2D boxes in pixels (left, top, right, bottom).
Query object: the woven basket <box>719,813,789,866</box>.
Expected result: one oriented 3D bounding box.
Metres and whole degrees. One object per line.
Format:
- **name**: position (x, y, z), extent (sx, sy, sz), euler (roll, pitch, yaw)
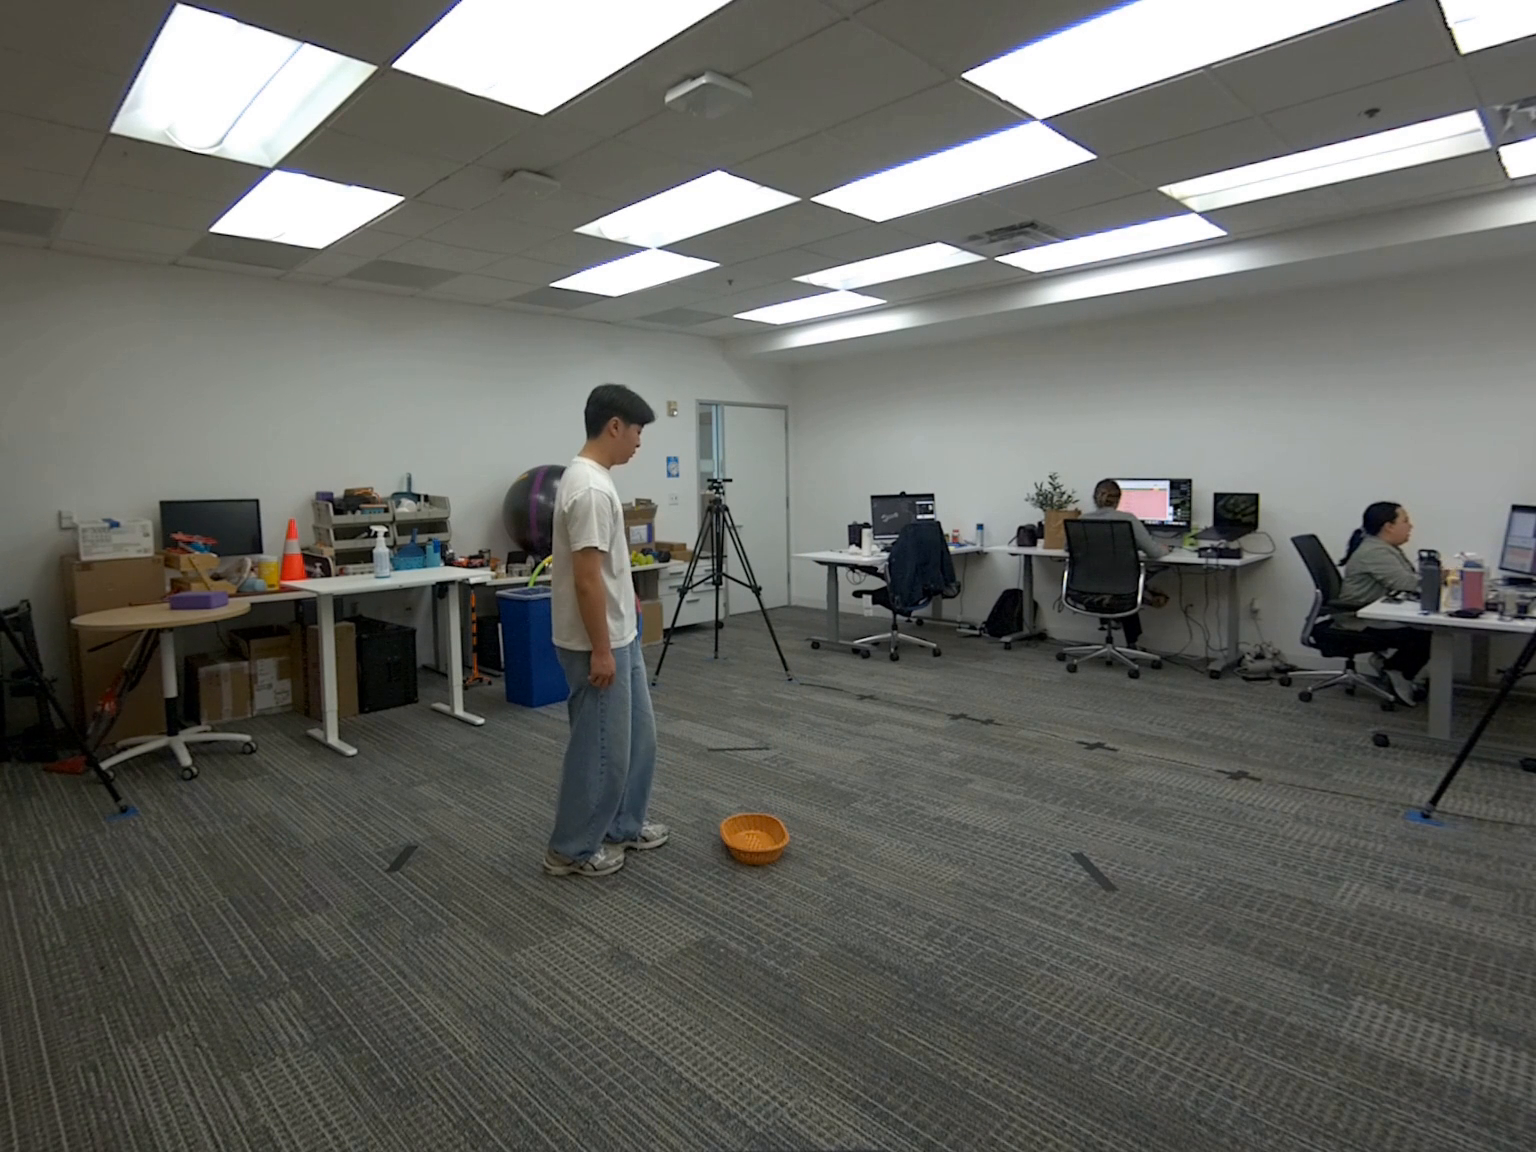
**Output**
- **woven basket**: position (-0.049, 0.990, 3.223), extent (0.250, 0.073, 0.355), euler (-3, 6, -9)
